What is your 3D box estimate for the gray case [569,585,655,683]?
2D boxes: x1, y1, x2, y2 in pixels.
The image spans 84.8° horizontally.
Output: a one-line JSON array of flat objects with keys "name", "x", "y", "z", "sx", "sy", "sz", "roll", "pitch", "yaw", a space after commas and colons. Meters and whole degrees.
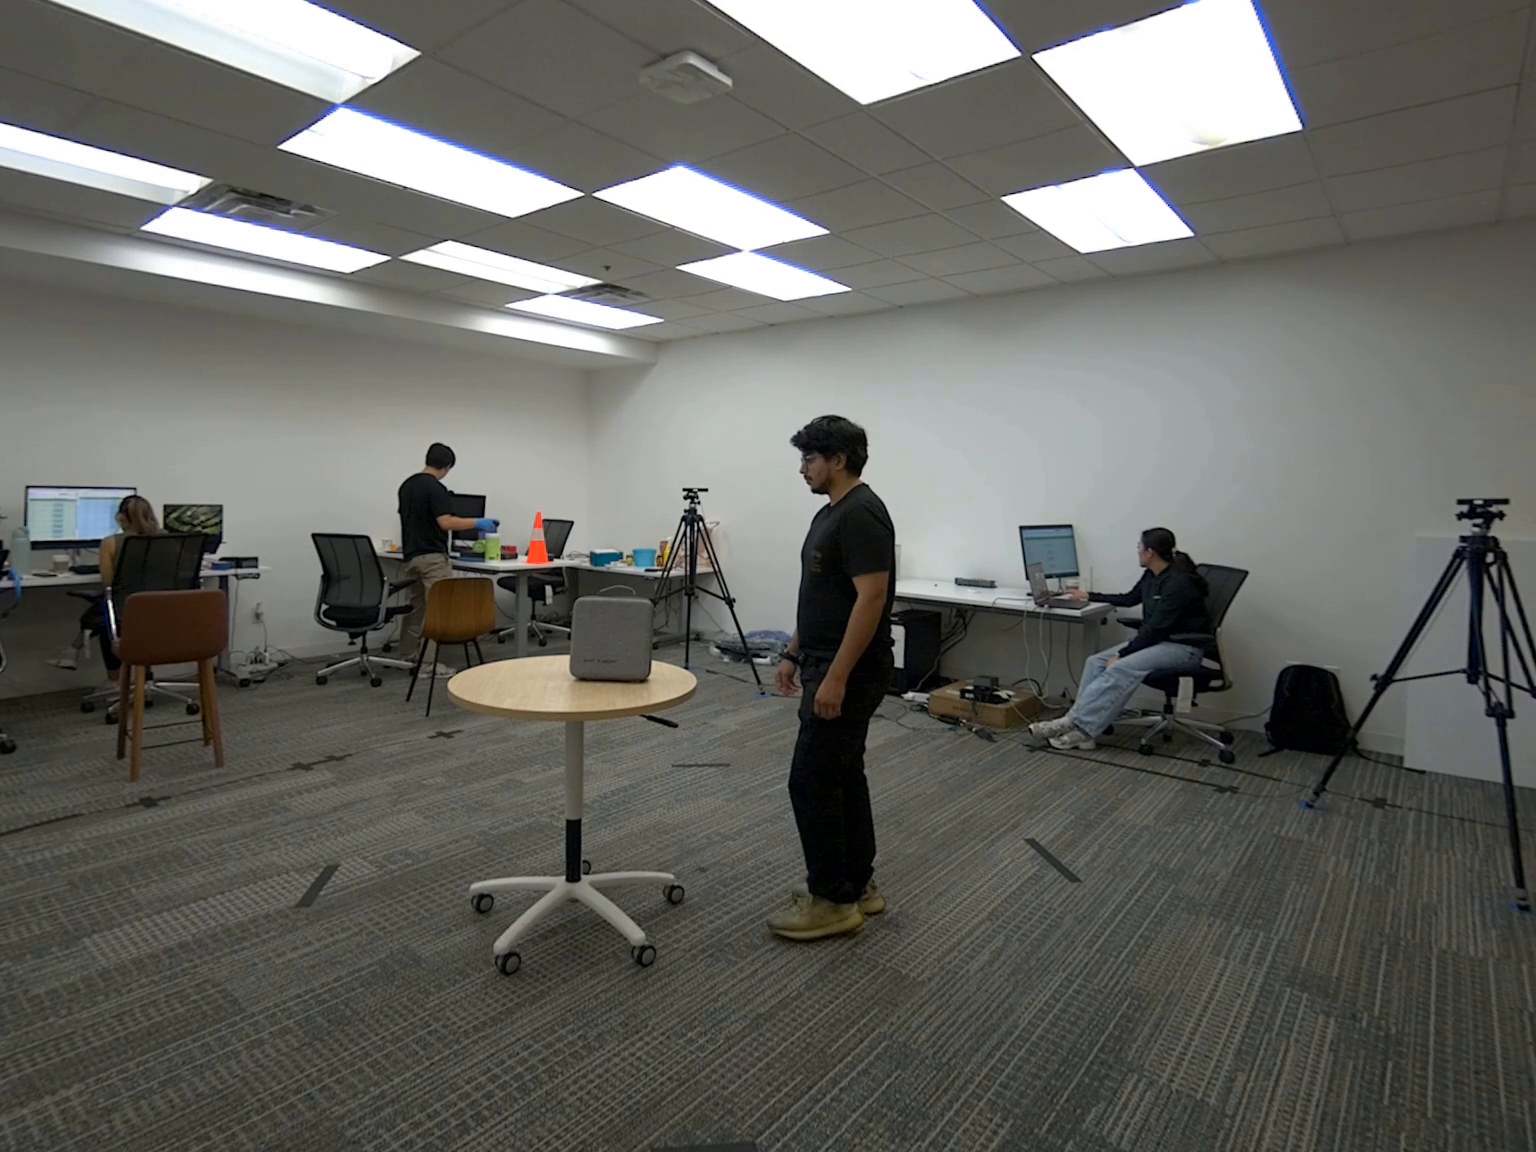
[{"name": "gray case", "x": -0.504, "y": 0.193, "z": 2.698, "sx": 0.257, "sy": 0.263, "sz": 0.103, "roll": 2, "pitch": -8, "yaw": 1}]
